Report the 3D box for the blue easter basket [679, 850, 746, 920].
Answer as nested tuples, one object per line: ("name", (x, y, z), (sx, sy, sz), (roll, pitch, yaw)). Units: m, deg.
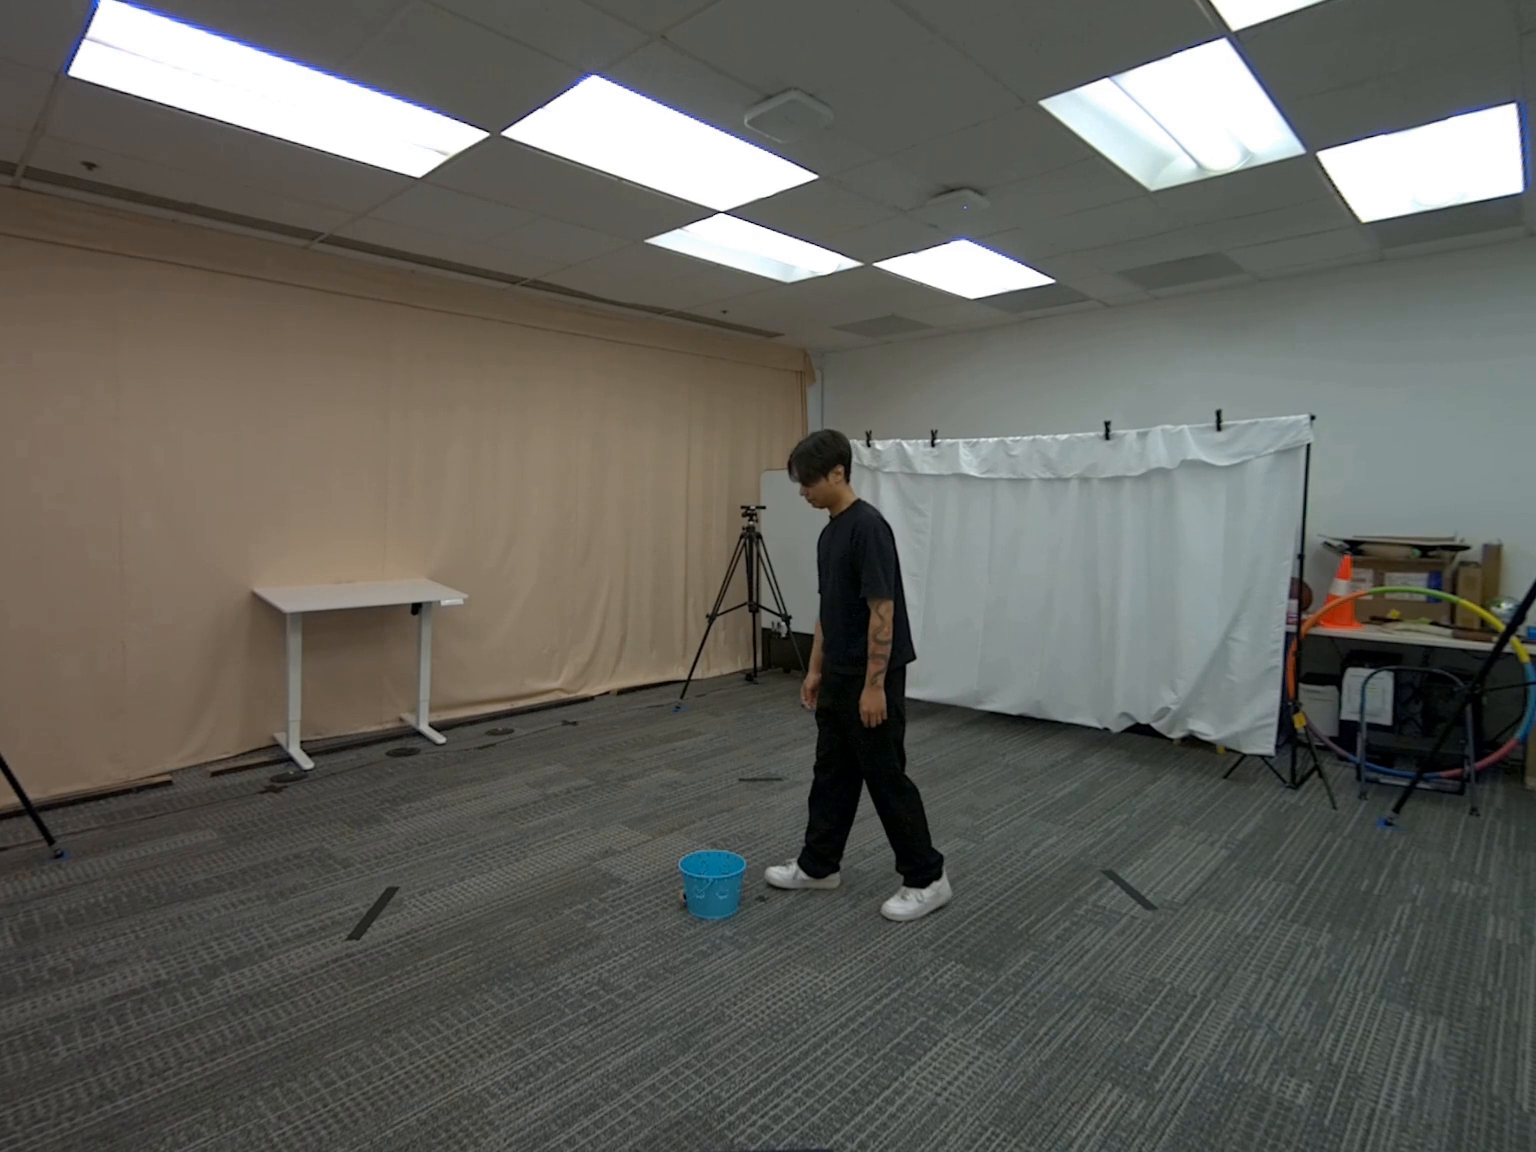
("blue easter basket", (-0.197, 1.075, 2.928), (0.243, 0.155, 0.244), (-1, 4, -2))
